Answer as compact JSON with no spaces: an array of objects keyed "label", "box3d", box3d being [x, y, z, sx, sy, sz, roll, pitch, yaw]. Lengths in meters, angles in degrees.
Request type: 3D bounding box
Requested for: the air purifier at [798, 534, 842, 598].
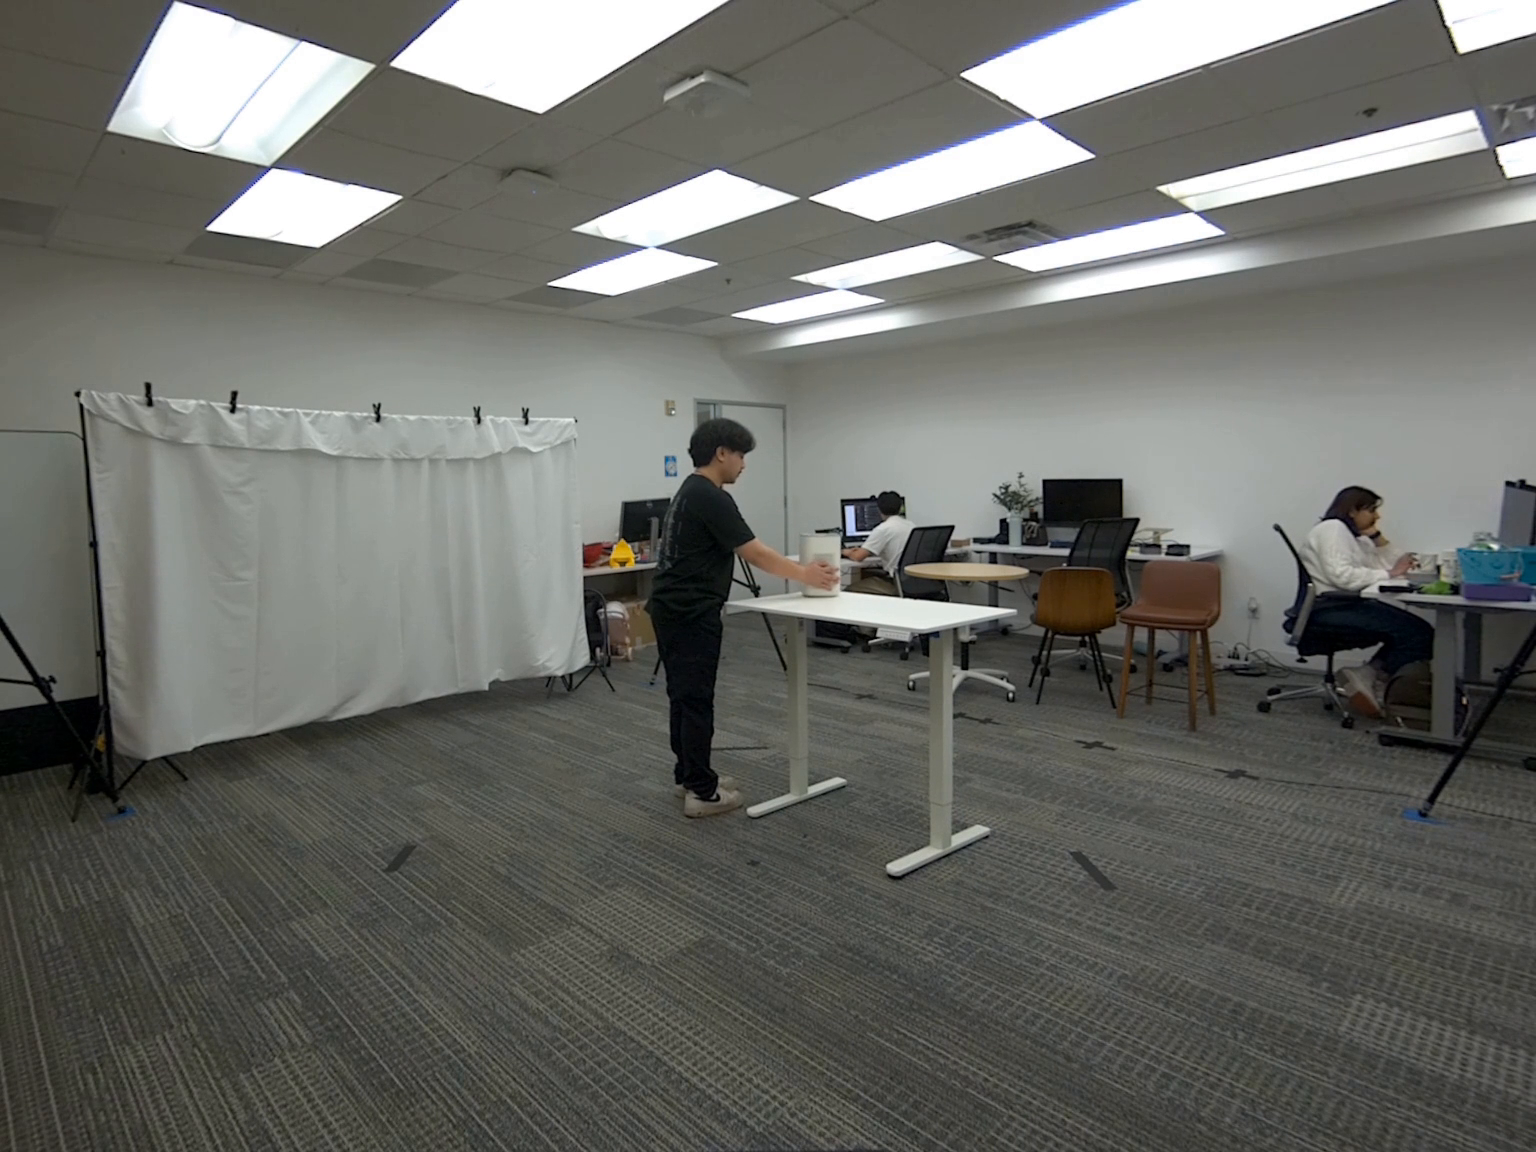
[{"label":"air purifier","box3d":[0.218,-0.052,3.723,0.170,0.264,0.173,-1,3,-9]}]
